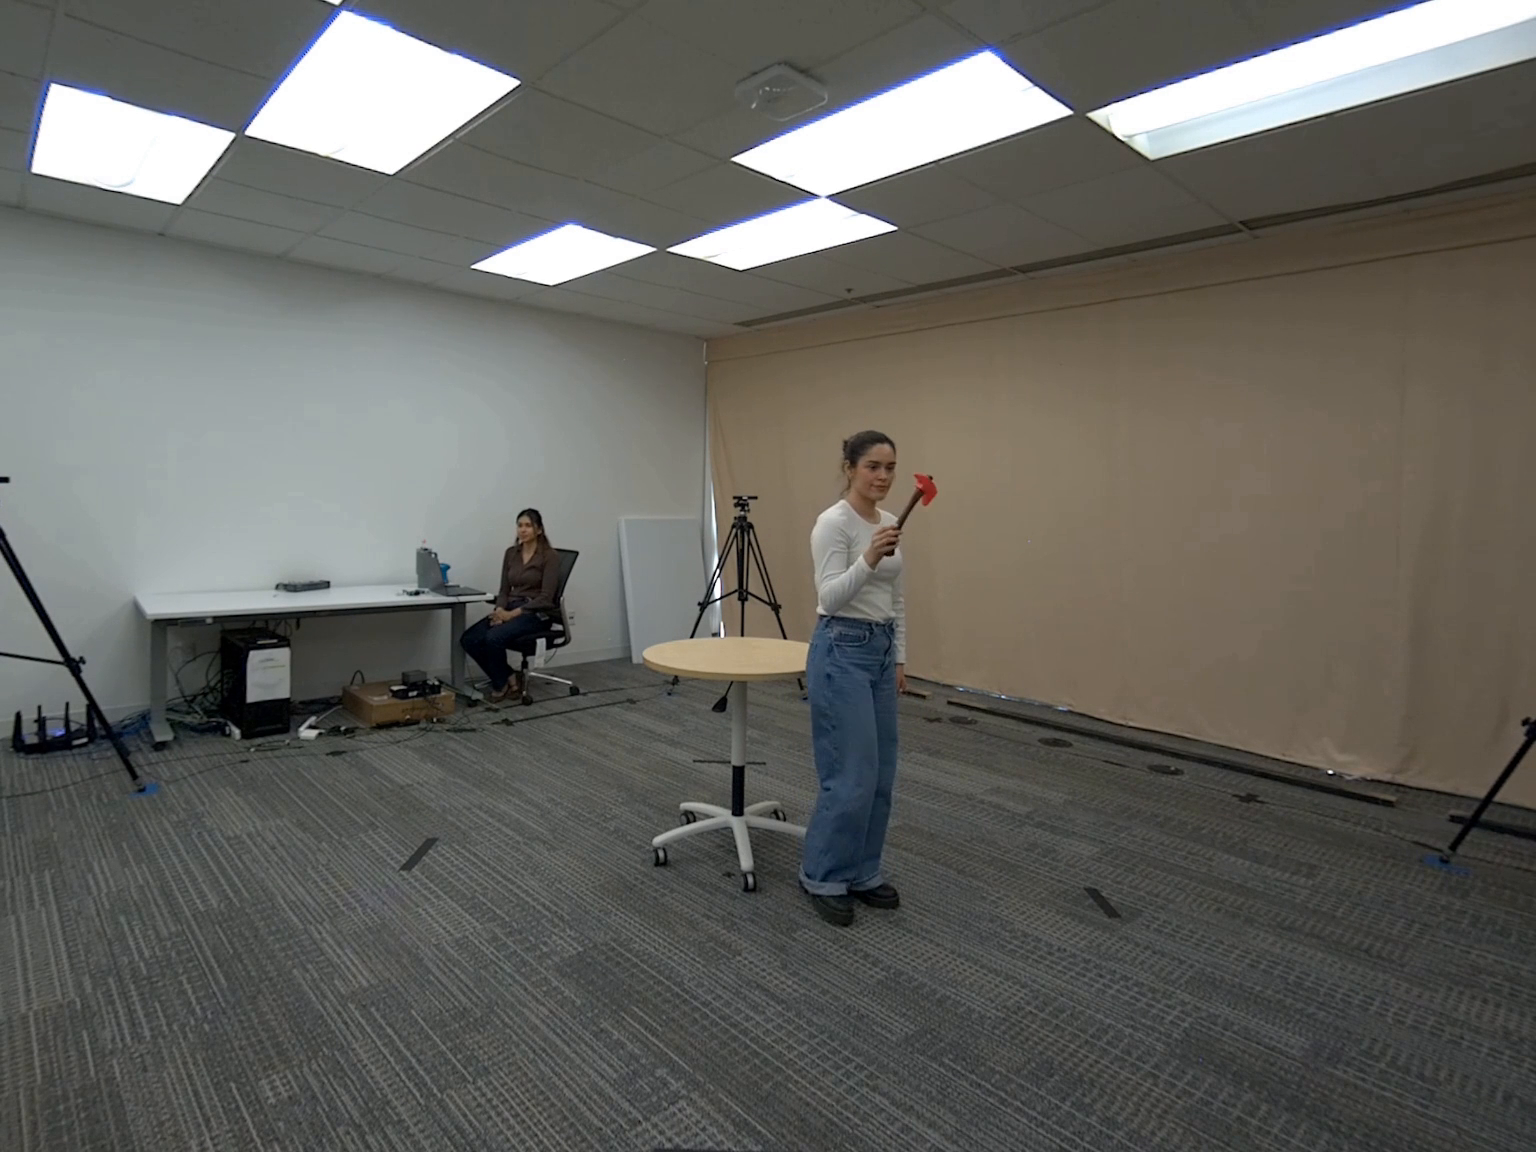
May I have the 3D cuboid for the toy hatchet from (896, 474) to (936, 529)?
[{"bbox_3d":[0.431,-0.183,2.555,0.128,0.268,0.030,6,19,-43],"label":"toy hatchet"}]
